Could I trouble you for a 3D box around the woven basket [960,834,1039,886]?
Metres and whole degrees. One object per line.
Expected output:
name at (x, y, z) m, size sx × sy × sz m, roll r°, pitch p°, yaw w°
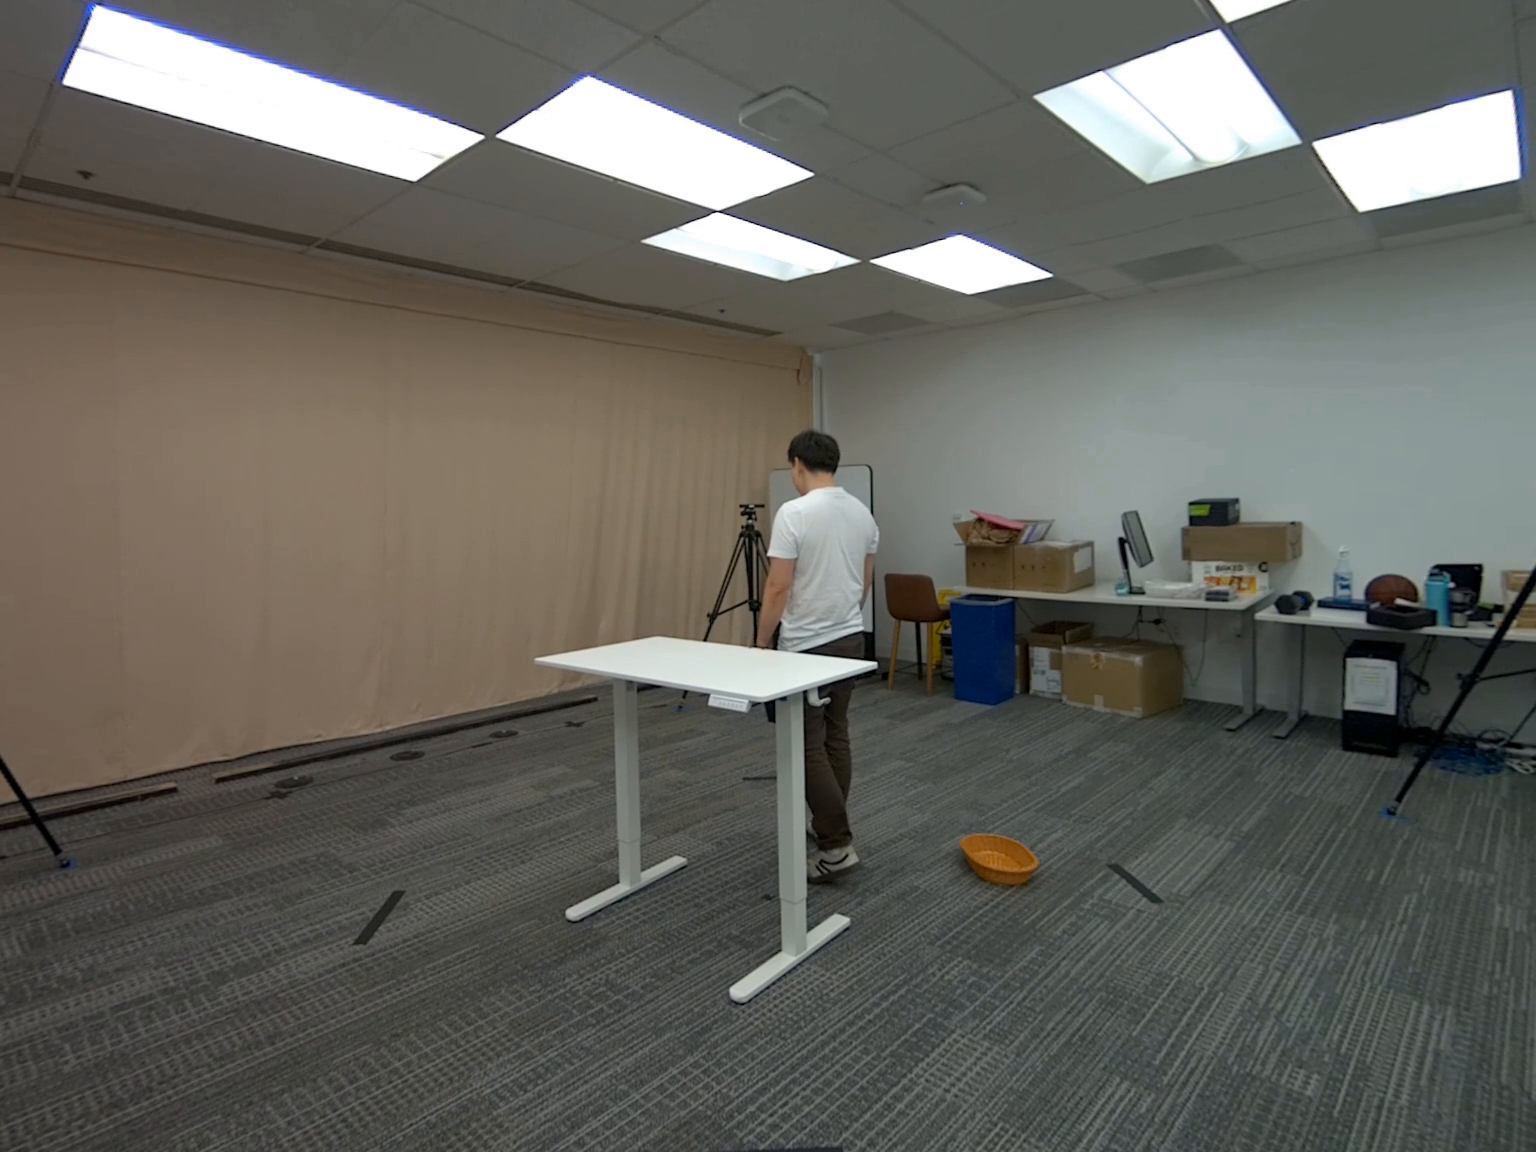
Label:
woven basket at (0.873, 1.073, 3.175) m, size 0.252 × 0.073 × 0.352 m, roll 0°, pitch 5°, yaw -3°
